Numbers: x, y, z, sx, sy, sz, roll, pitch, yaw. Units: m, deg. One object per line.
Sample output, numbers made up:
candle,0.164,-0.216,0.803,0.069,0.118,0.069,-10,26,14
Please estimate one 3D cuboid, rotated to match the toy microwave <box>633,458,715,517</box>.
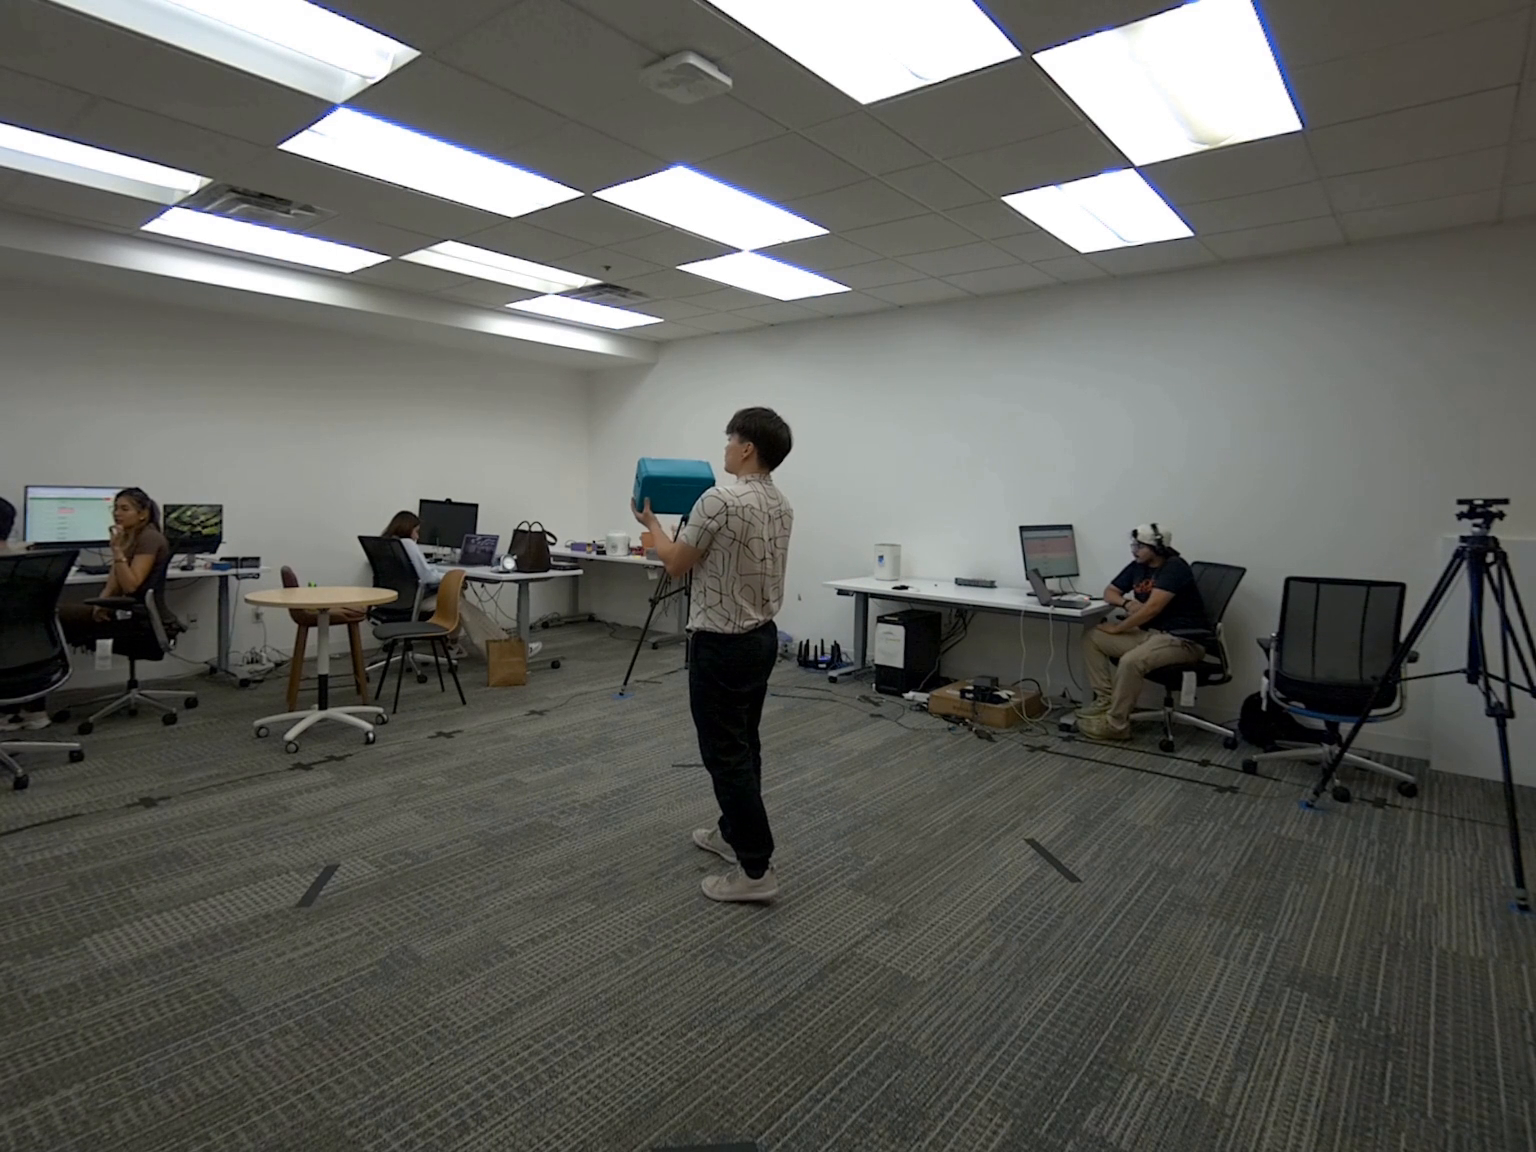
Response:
toy microwave,-0.370,-0.343,3.205,0.281,0.180,0.158,1,39,-16
